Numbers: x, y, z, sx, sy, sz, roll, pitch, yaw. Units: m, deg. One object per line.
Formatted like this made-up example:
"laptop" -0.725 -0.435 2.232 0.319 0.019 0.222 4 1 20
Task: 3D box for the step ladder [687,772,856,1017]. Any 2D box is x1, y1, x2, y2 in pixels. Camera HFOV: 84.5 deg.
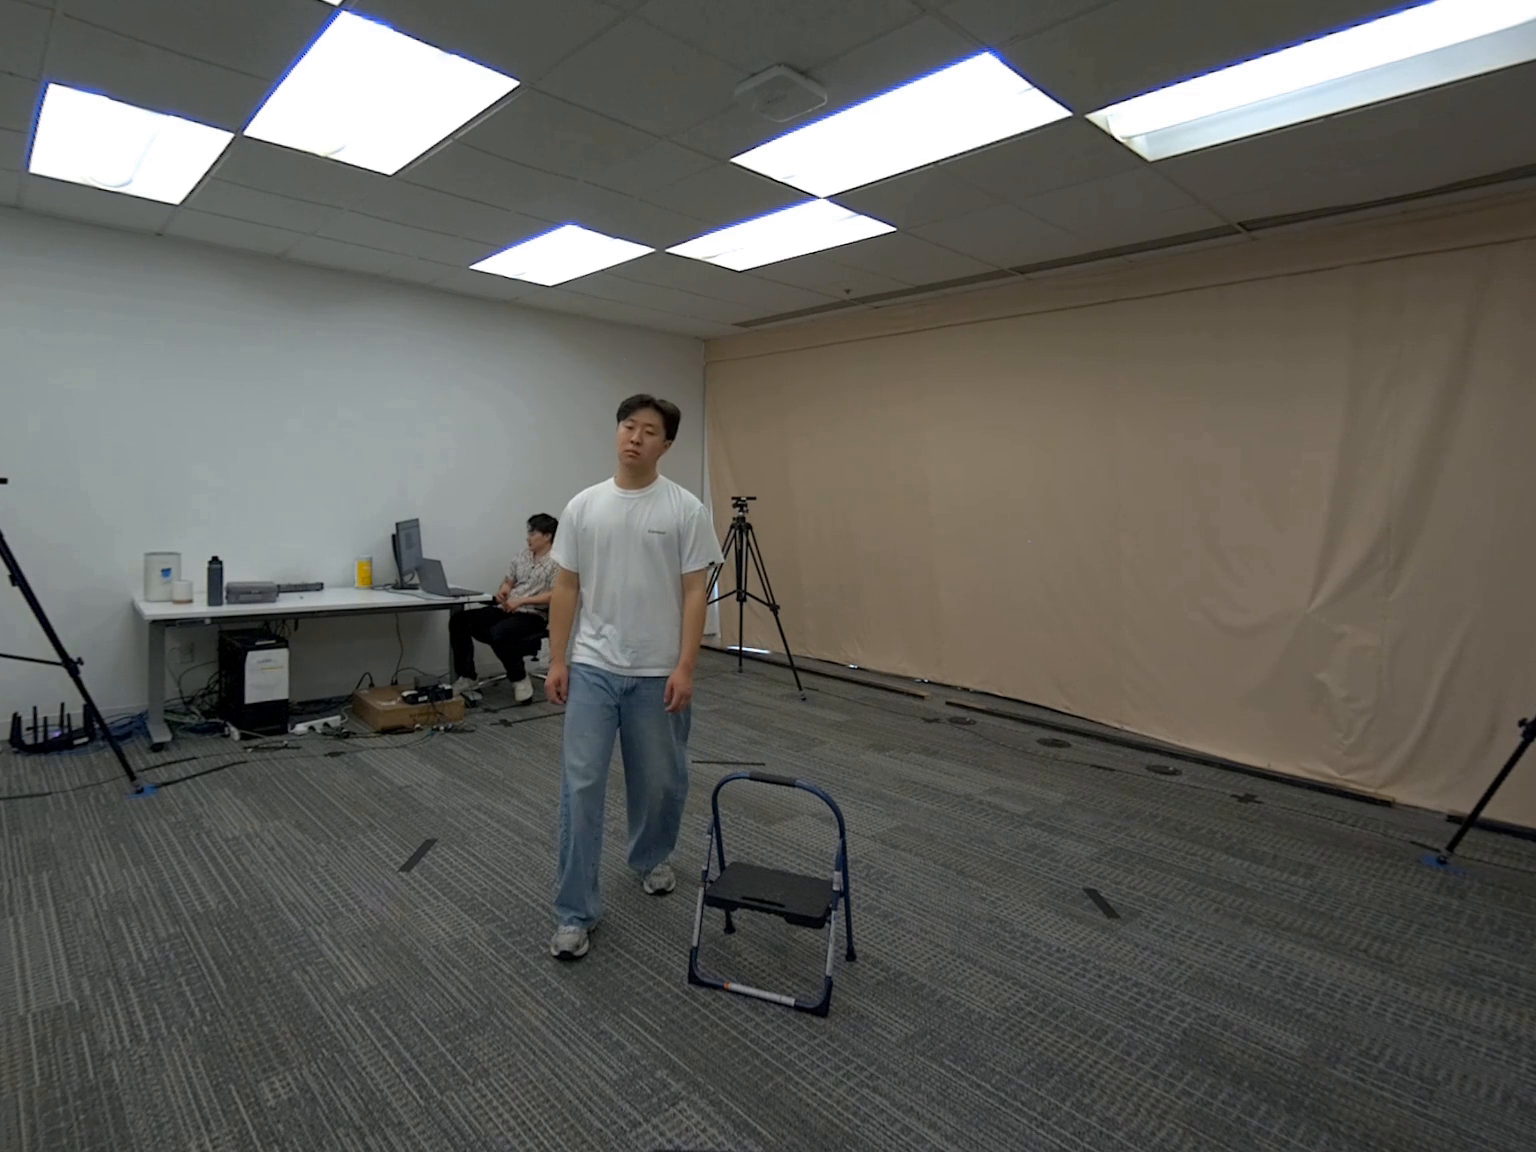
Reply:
"step ladder" 0.023 0.865 2.473 0.437 0.605 0.344 3 3 20
